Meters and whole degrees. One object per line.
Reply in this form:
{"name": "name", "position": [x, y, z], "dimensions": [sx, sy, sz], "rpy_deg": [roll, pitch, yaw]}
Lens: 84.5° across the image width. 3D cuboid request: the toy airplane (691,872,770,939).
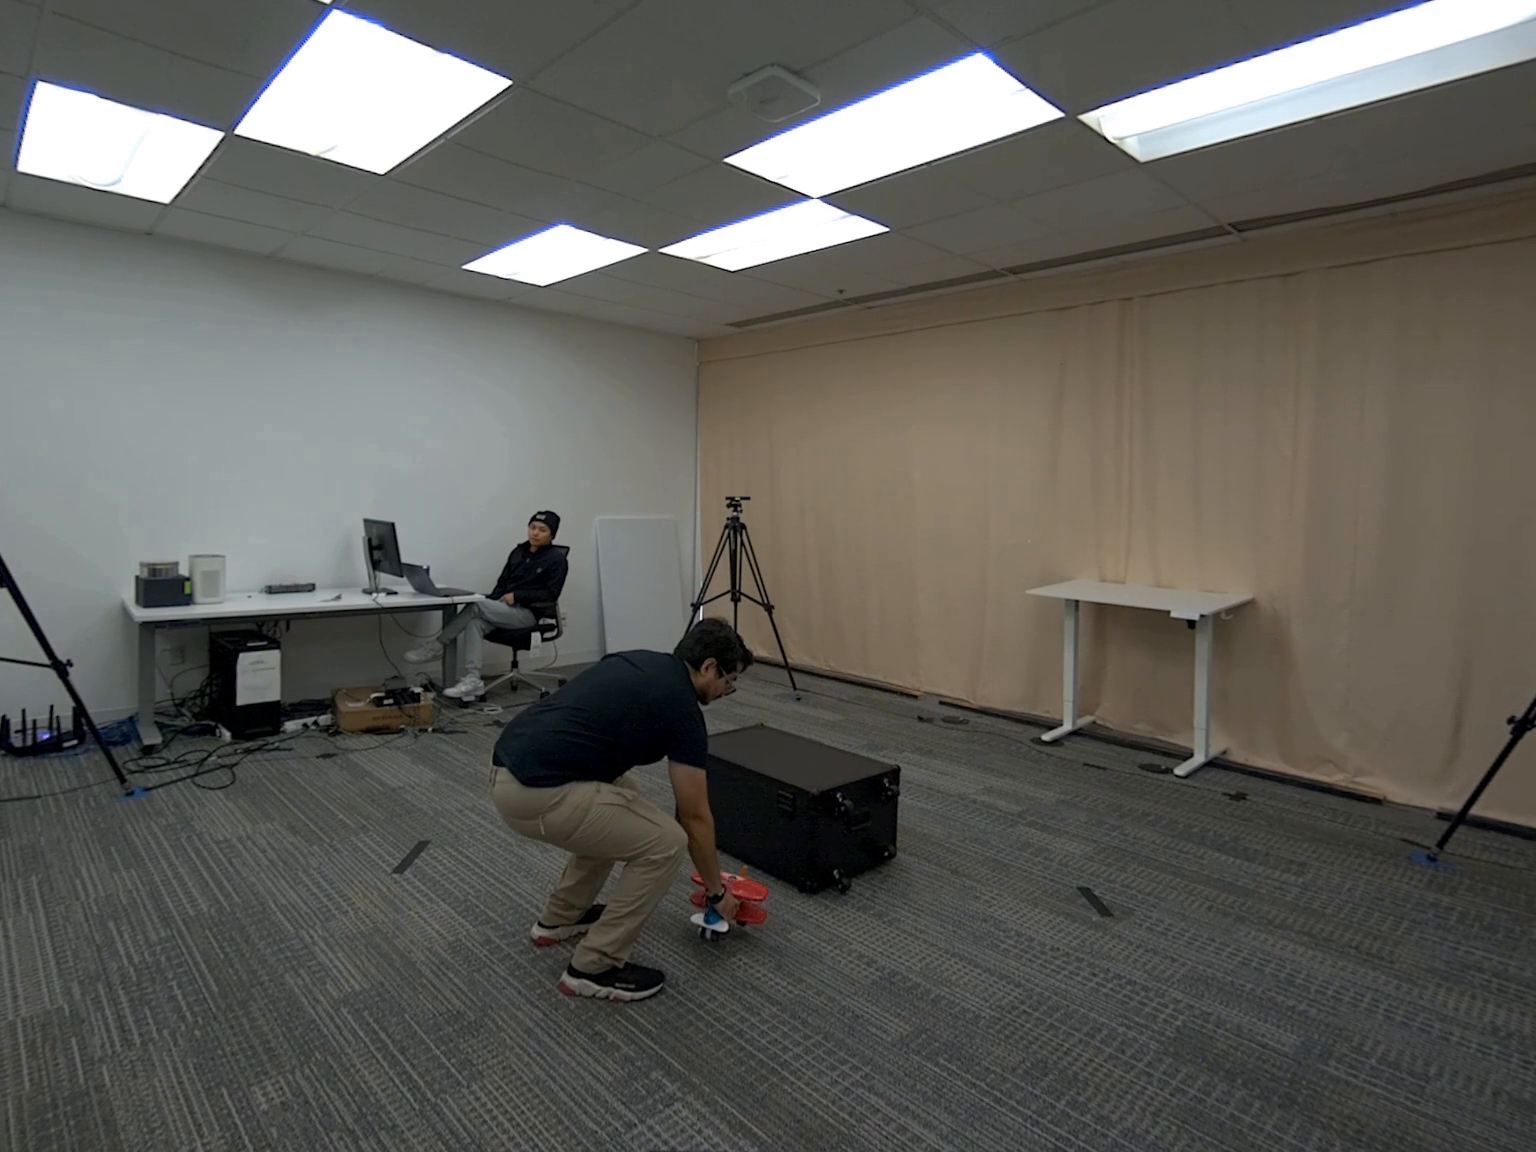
{"name": "toy airplane", "position": [-0.127, 1.042, 2.635], "dimensions": [0.249, 0.157, 0.261], "rpy_deg": [9, -2, -9]}
